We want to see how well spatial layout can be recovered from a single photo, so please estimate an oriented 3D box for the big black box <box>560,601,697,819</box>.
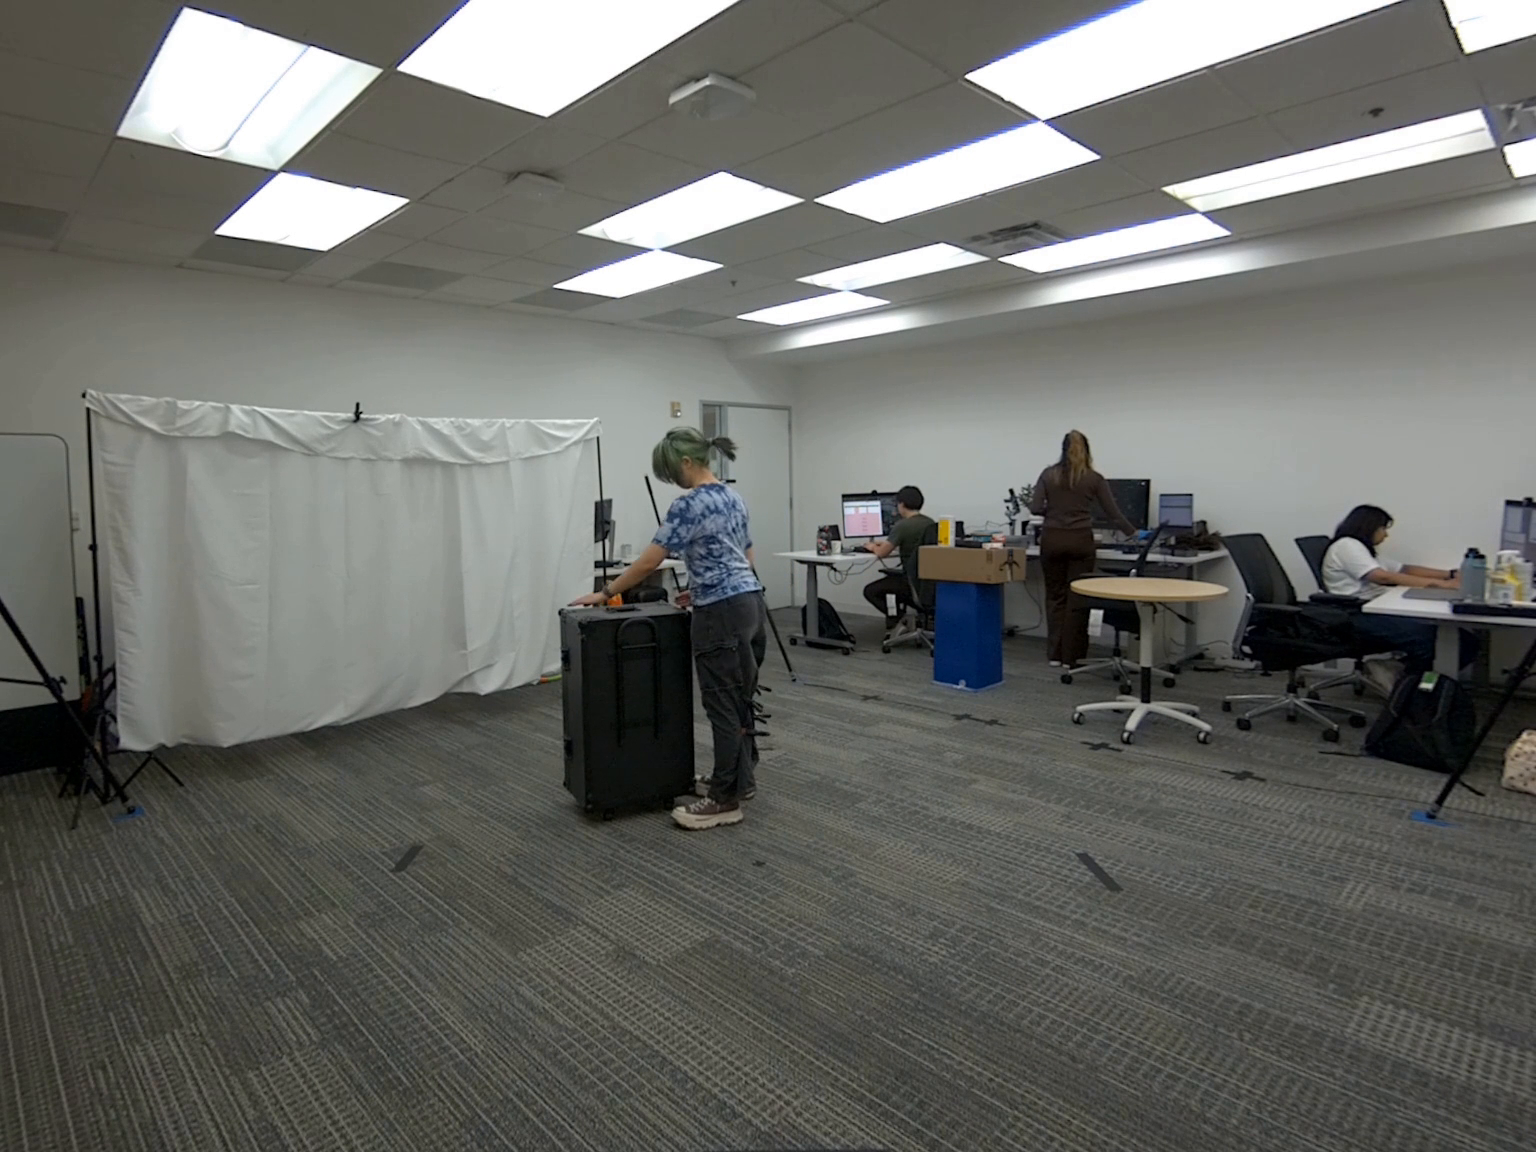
[{"bbox_3d":[-0.606,0.576,3.668,0.510,0.858,0.406,-2,6,-25],"label":"big black box"}]
